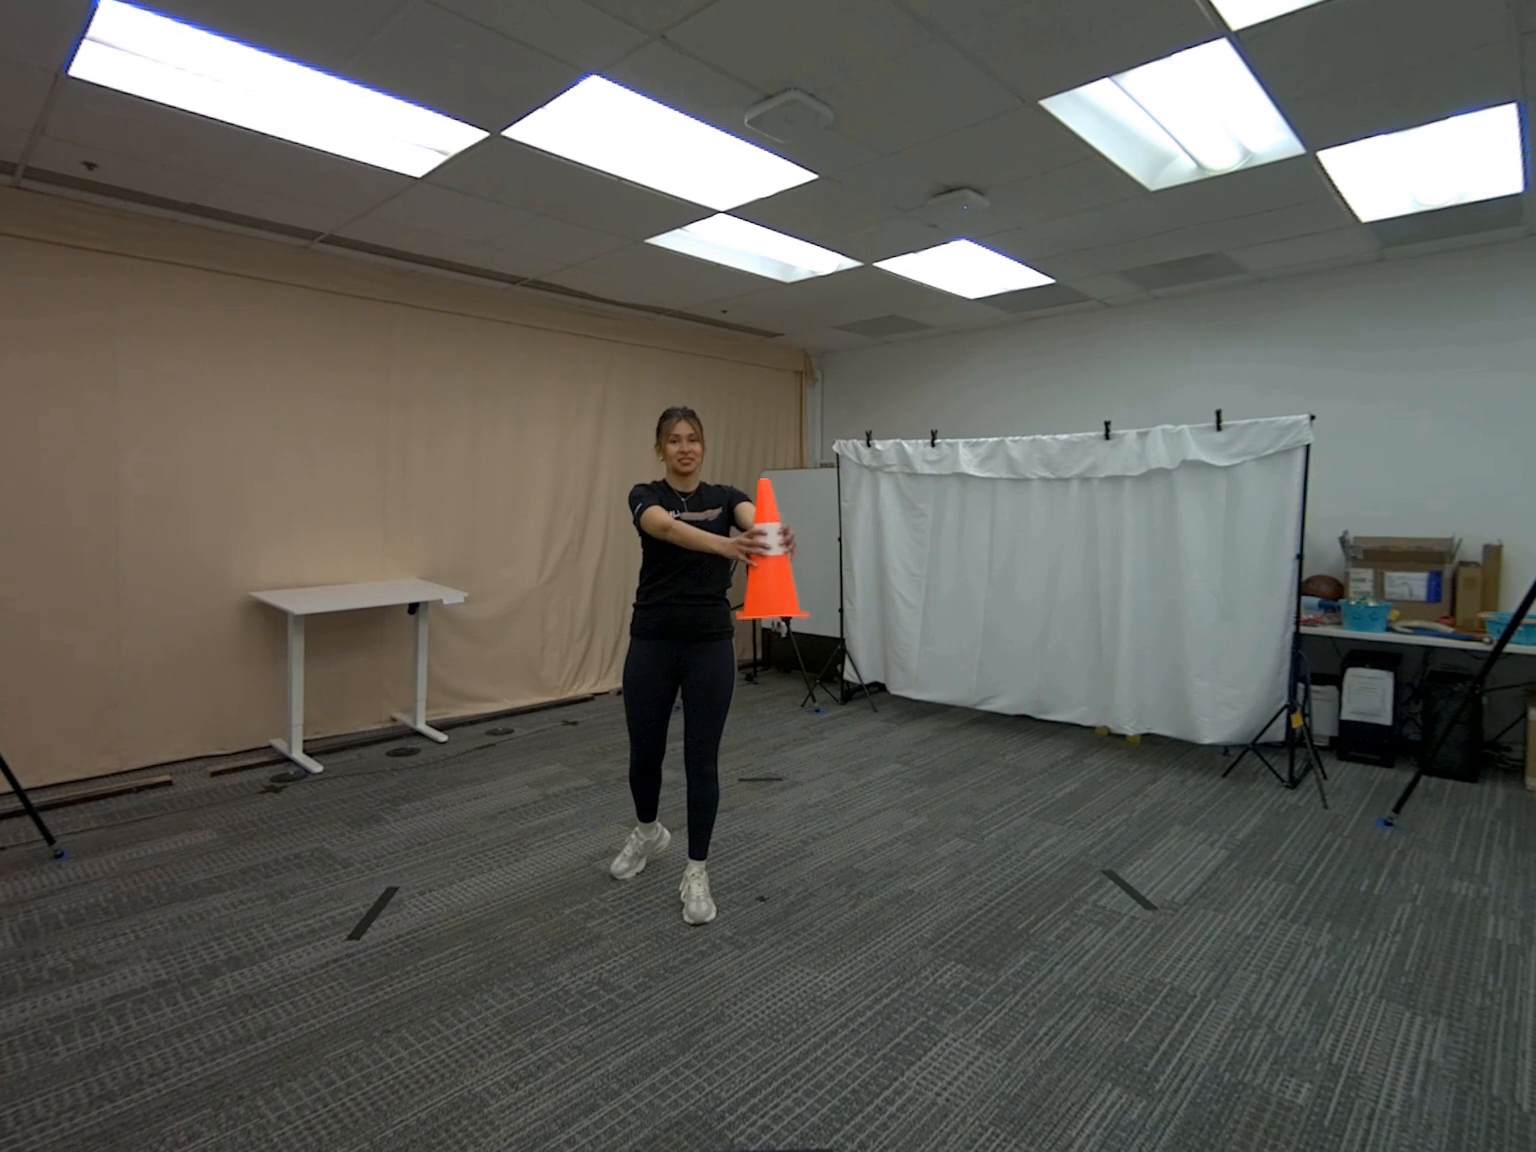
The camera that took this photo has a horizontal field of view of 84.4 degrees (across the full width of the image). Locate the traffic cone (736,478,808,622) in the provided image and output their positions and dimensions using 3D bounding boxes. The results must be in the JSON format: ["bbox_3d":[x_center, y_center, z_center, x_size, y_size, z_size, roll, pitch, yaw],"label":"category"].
[{"bbox_3d":[0.001,-0.079,2.363,0.199,0.383,0.209,-2,1,-34],"label":"traffic cone"}]
